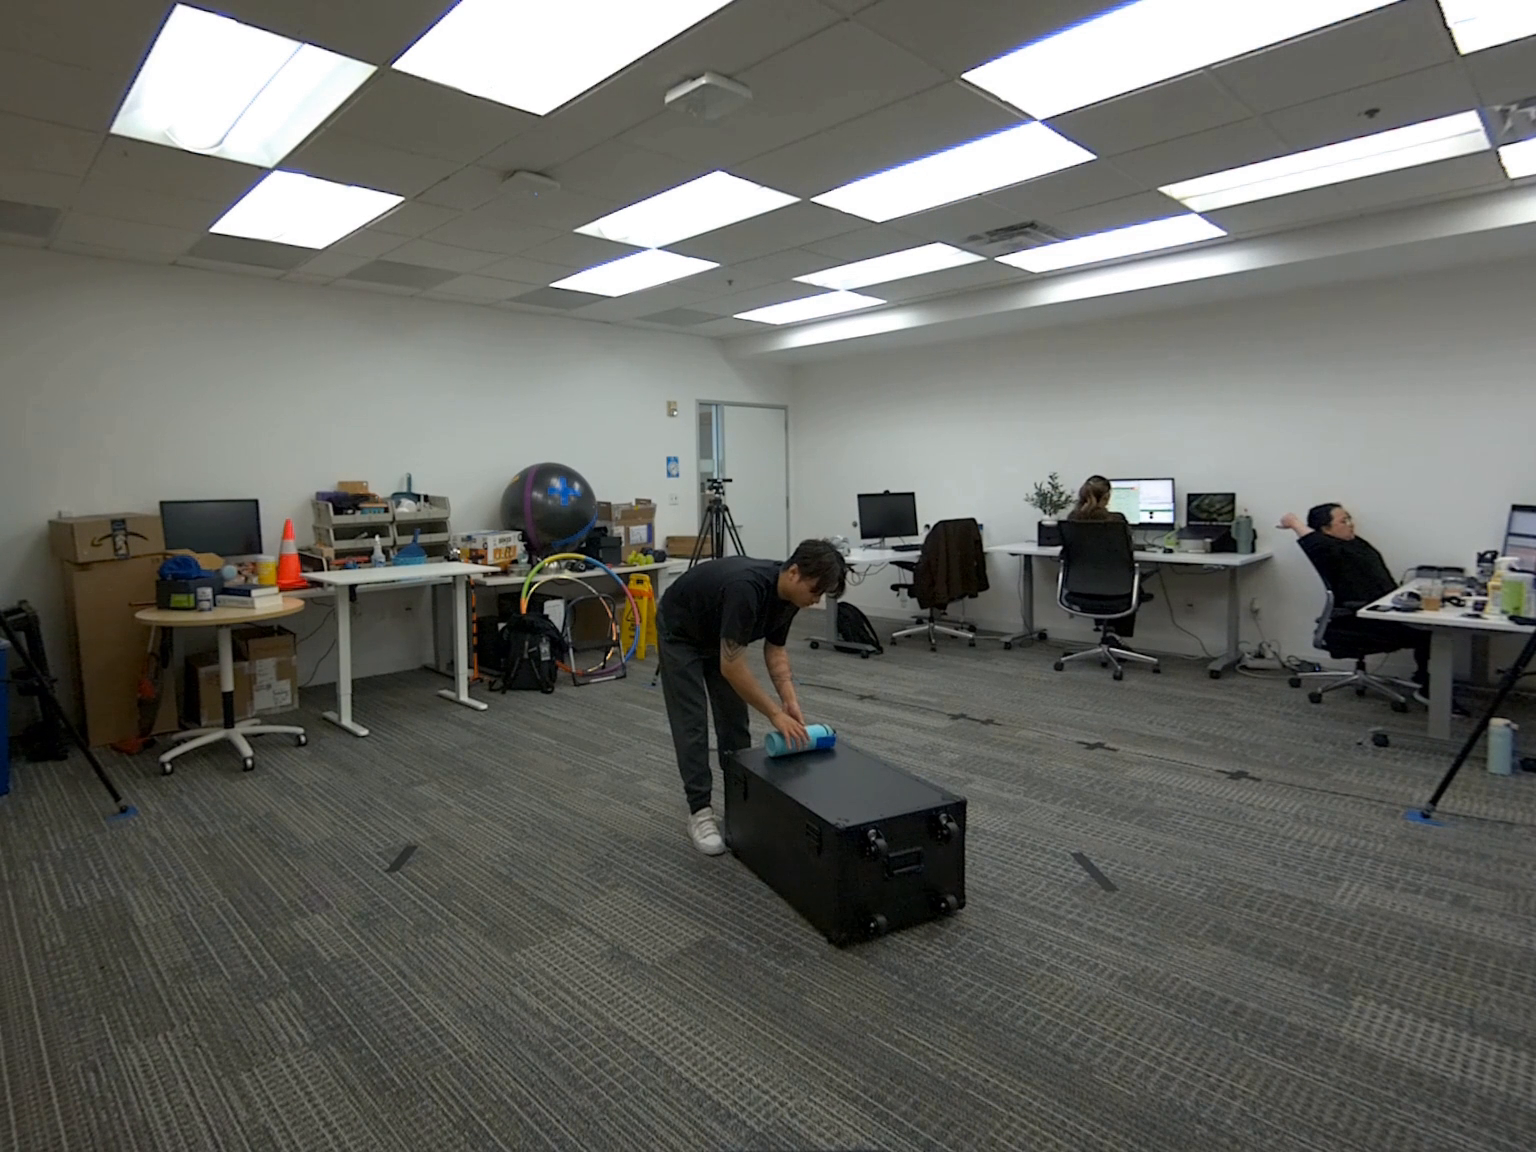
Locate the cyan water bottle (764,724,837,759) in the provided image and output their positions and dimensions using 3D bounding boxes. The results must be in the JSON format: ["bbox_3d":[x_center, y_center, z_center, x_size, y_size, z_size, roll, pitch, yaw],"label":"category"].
[{"bbox_3d":[0.129,0.608,3.192,0.277,0.092,0.095,-3,5,-27],"label":"cyan water bottle"}]
